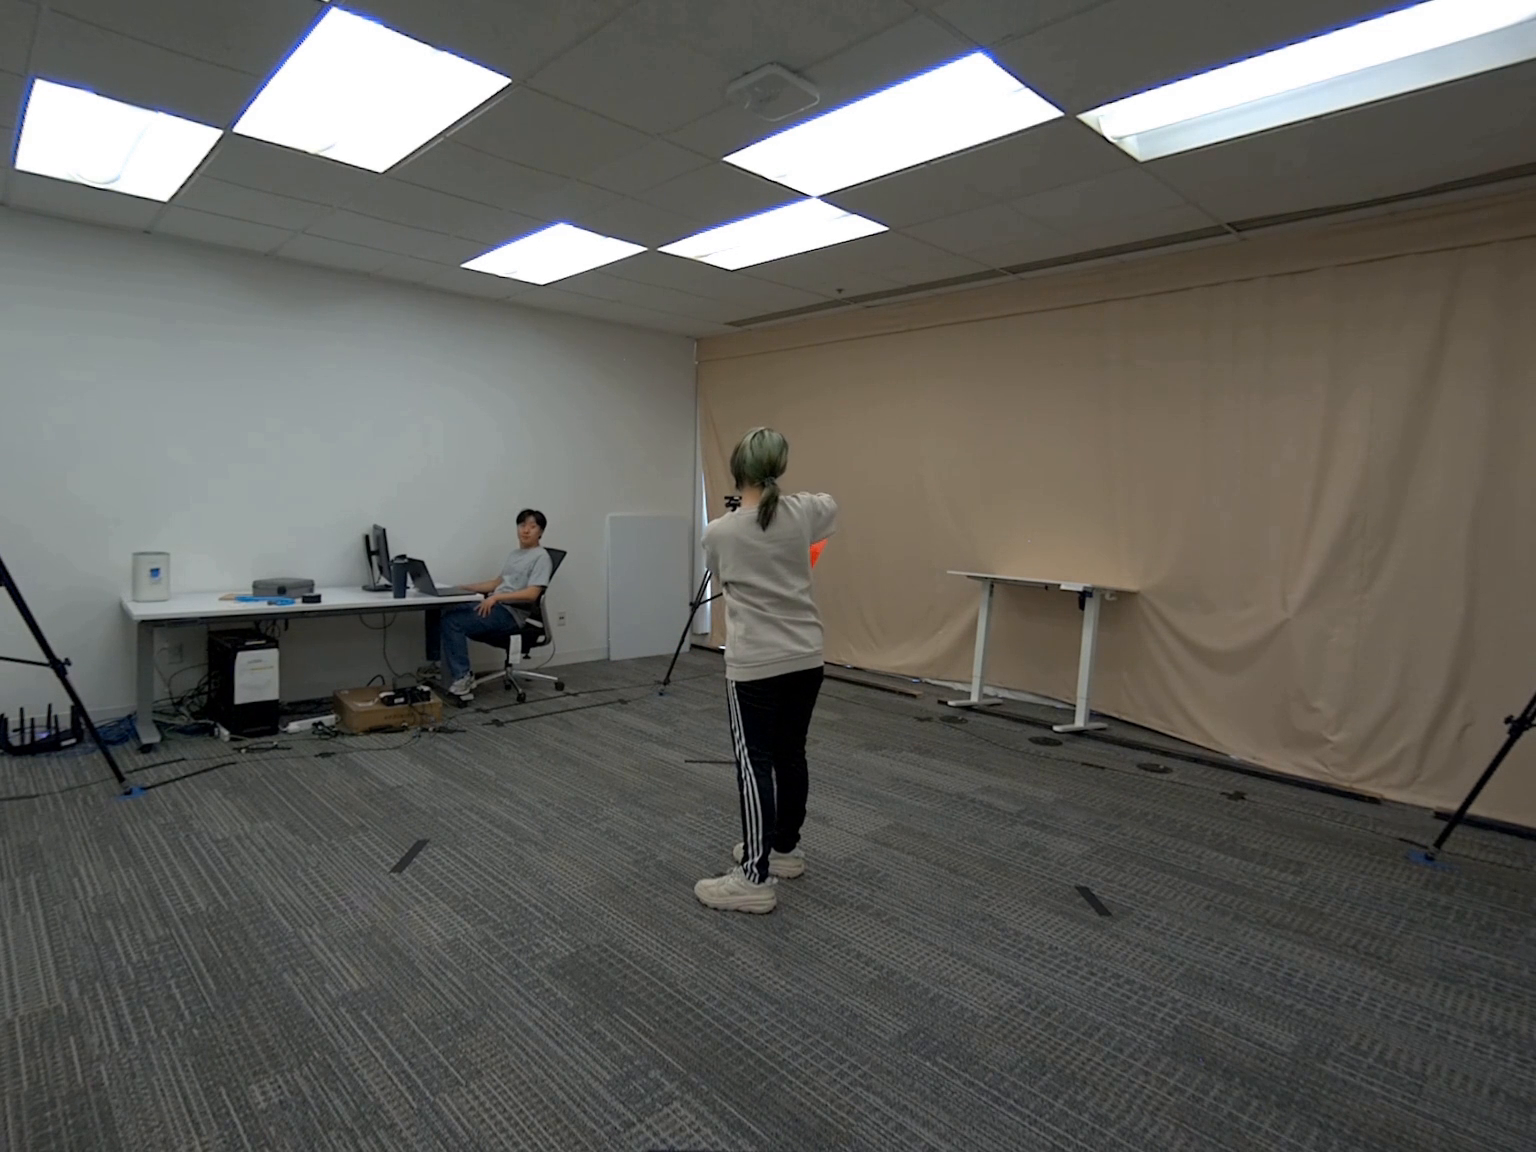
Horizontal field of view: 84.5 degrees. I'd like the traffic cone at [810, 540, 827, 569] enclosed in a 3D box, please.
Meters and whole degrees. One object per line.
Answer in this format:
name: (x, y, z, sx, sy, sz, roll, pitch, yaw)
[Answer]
traffic cone: (0.010, -0.142, 3.441, 0.372, 0.205, 0.209, 30, -3, -36)
